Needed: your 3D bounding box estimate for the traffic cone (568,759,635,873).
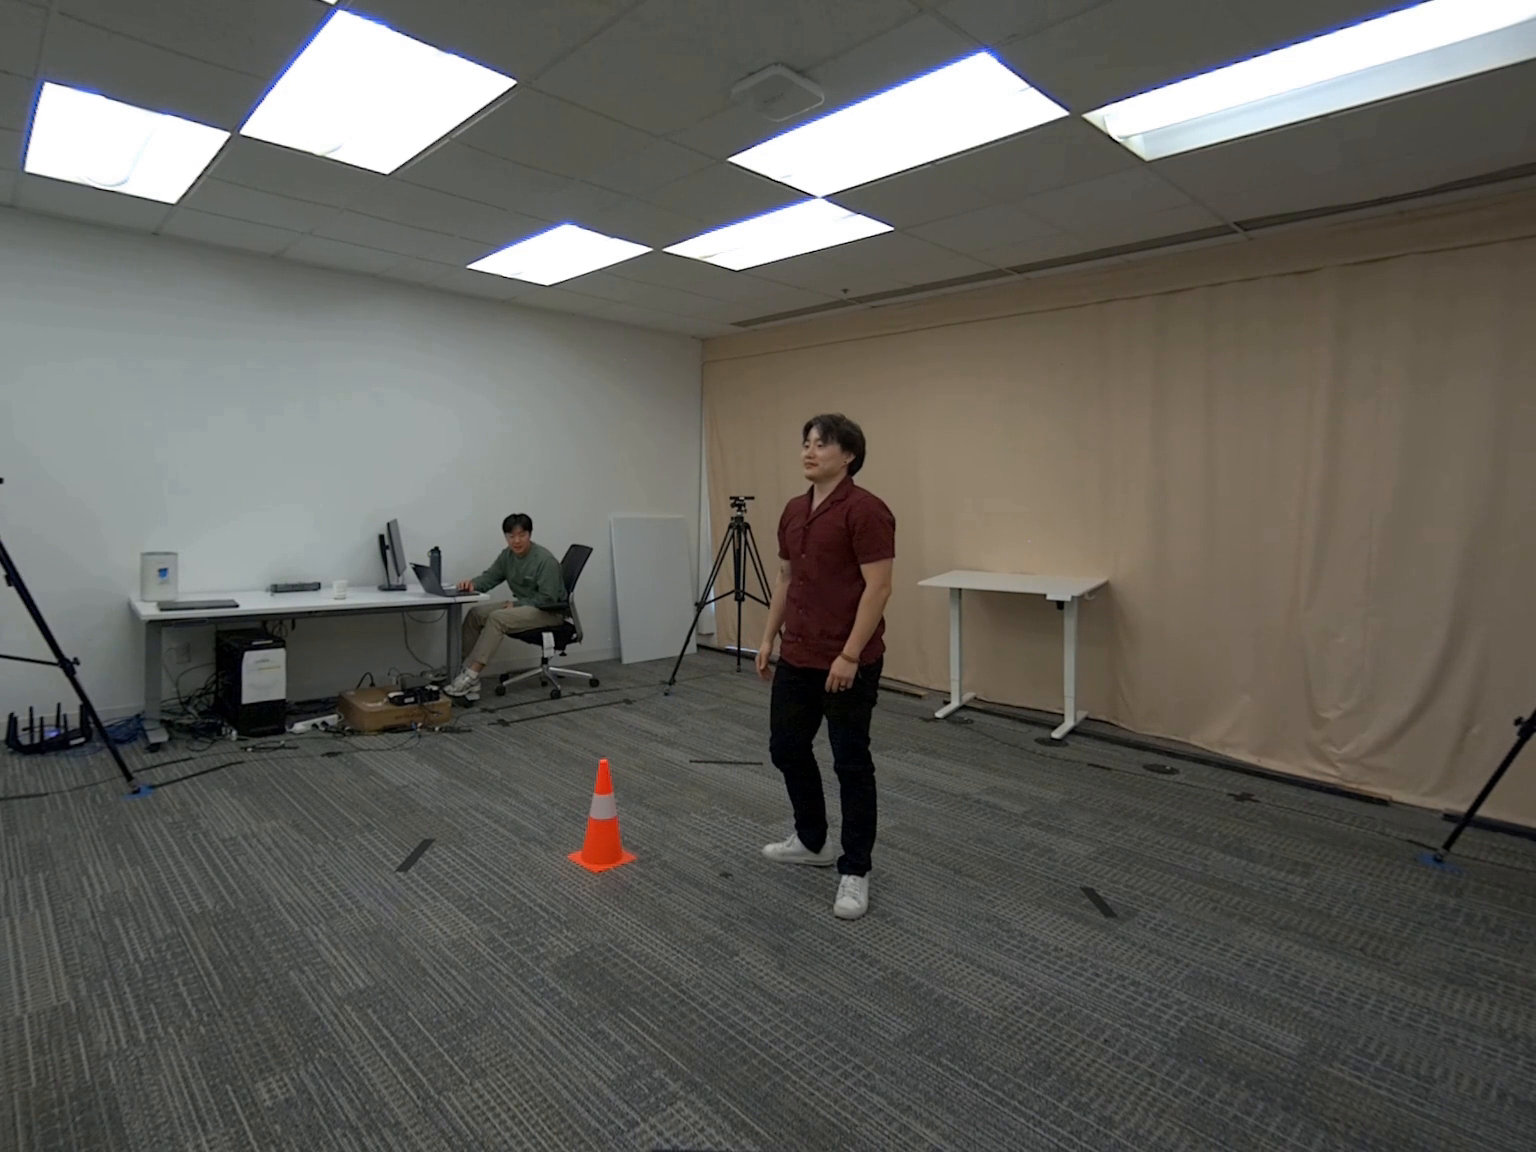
[{"bbox_3d":[-0.637,0.894,3.227,0.200,0.383,0.208,0,4,-34],"label":"traffic cone"}]
